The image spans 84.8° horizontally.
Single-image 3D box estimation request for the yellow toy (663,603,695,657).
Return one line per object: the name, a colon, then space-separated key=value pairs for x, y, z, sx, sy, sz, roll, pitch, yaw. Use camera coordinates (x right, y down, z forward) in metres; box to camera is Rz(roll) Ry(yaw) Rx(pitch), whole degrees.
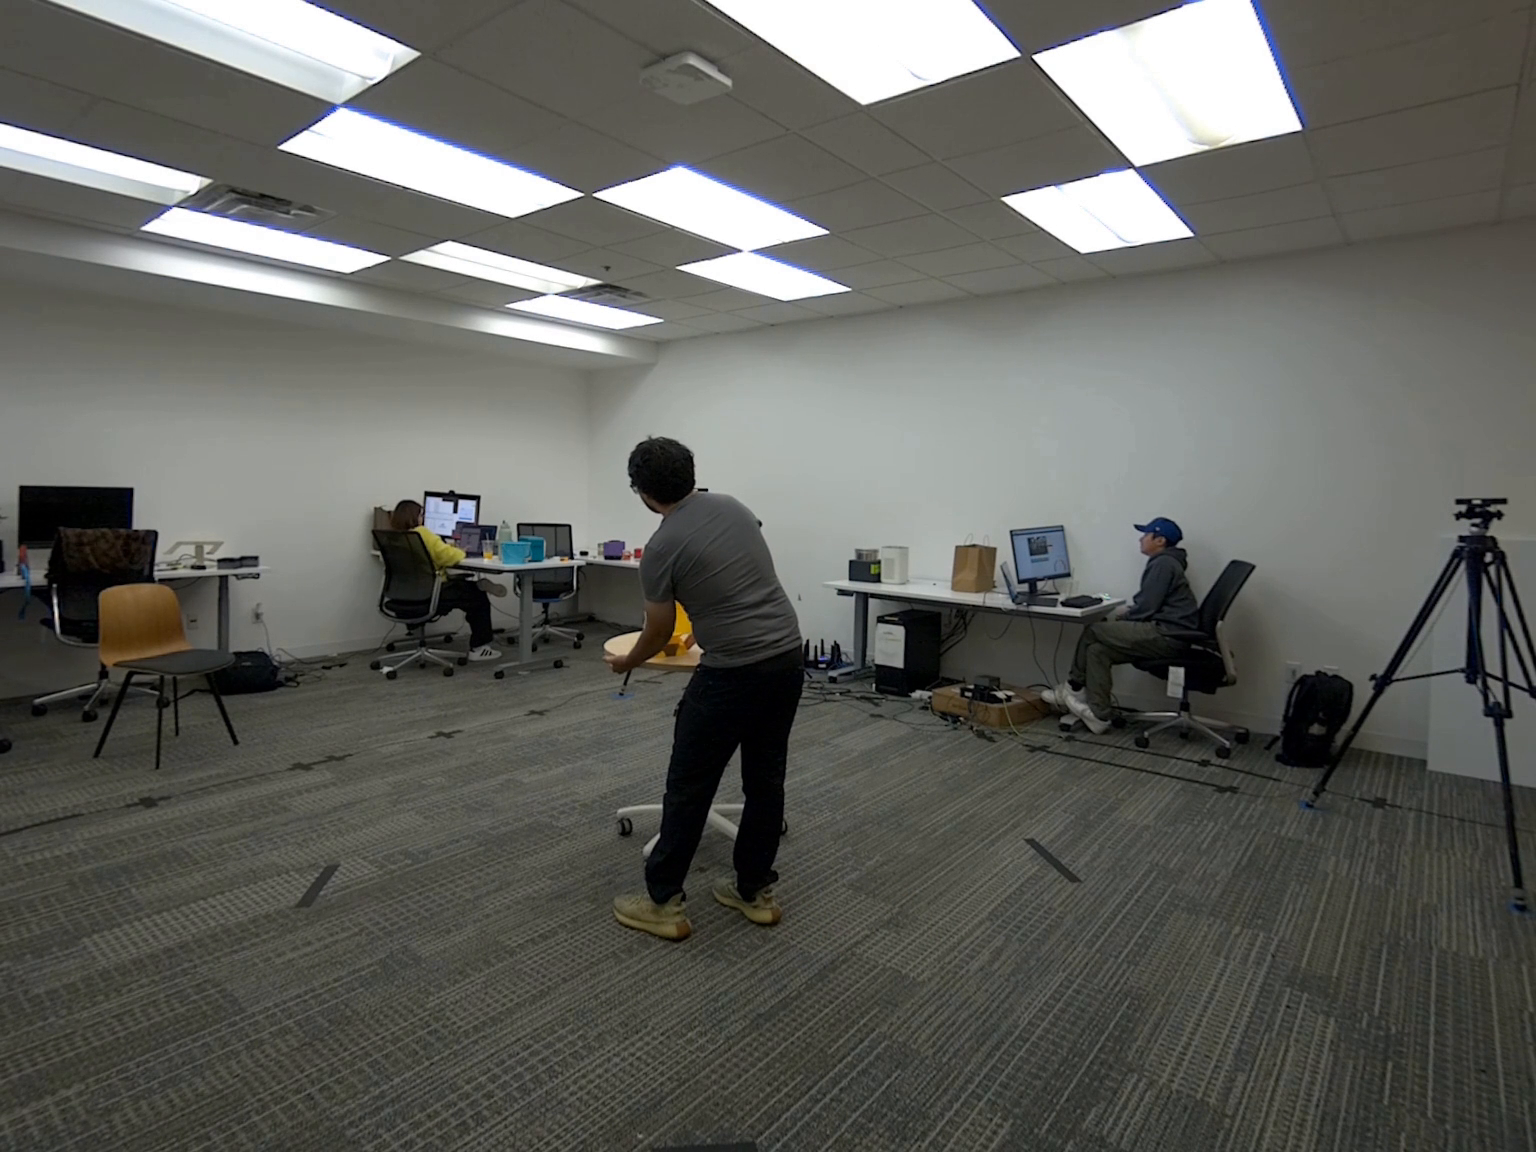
yellow toy: x=-0.404 y=0.171 z=3.135 sx=0.199 sy=0.230 sz=0.199 roll=-2 pitch=5 yaw=-38
